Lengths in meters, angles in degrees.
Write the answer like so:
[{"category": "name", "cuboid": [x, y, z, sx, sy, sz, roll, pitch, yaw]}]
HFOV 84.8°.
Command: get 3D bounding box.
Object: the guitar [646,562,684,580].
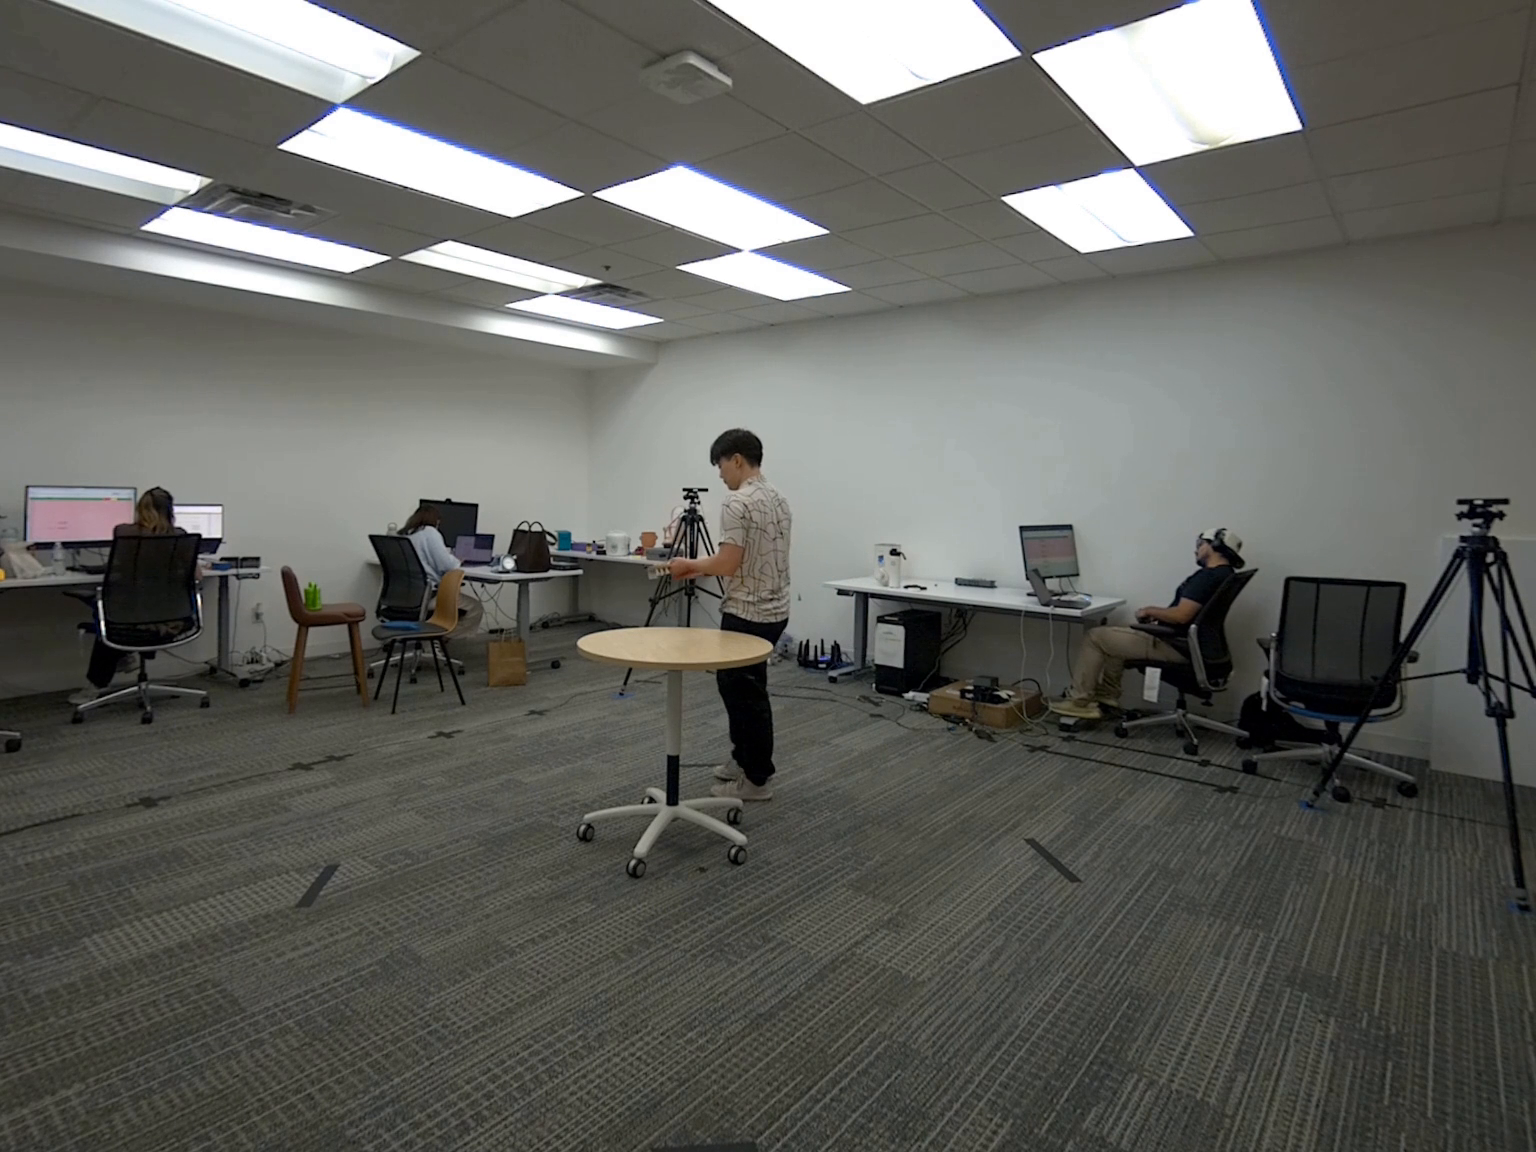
[{"category": "guitar", "cuboid": [-0.422, -0.026, 3.875, 0.197, 0.071, 0.486, -17, -2, 32]}]
